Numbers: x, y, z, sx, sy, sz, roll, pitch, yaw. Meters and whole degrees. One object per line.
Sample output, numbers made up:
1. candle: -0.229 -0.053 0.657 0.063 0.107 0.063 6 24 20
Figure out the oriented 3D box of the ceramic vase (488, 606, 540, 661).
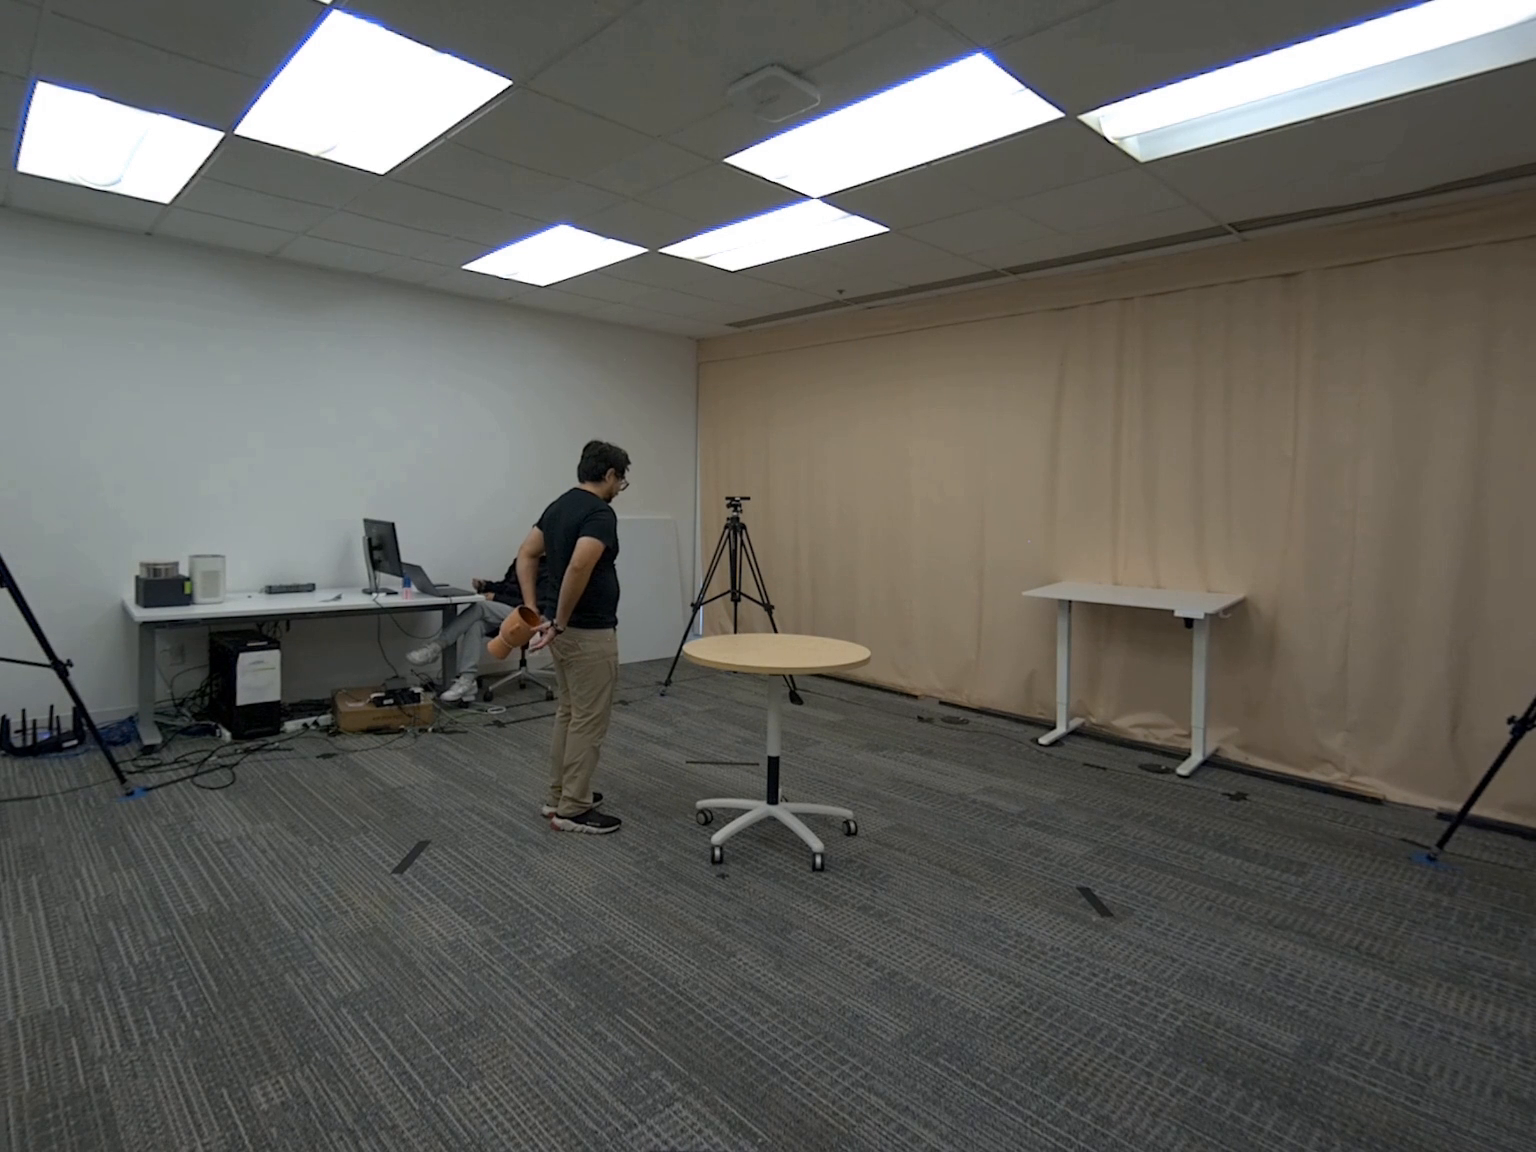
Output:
1. ceramic vase: -1.068 0.241 3.509 0.154 0.220 0.139 31 21 -44
